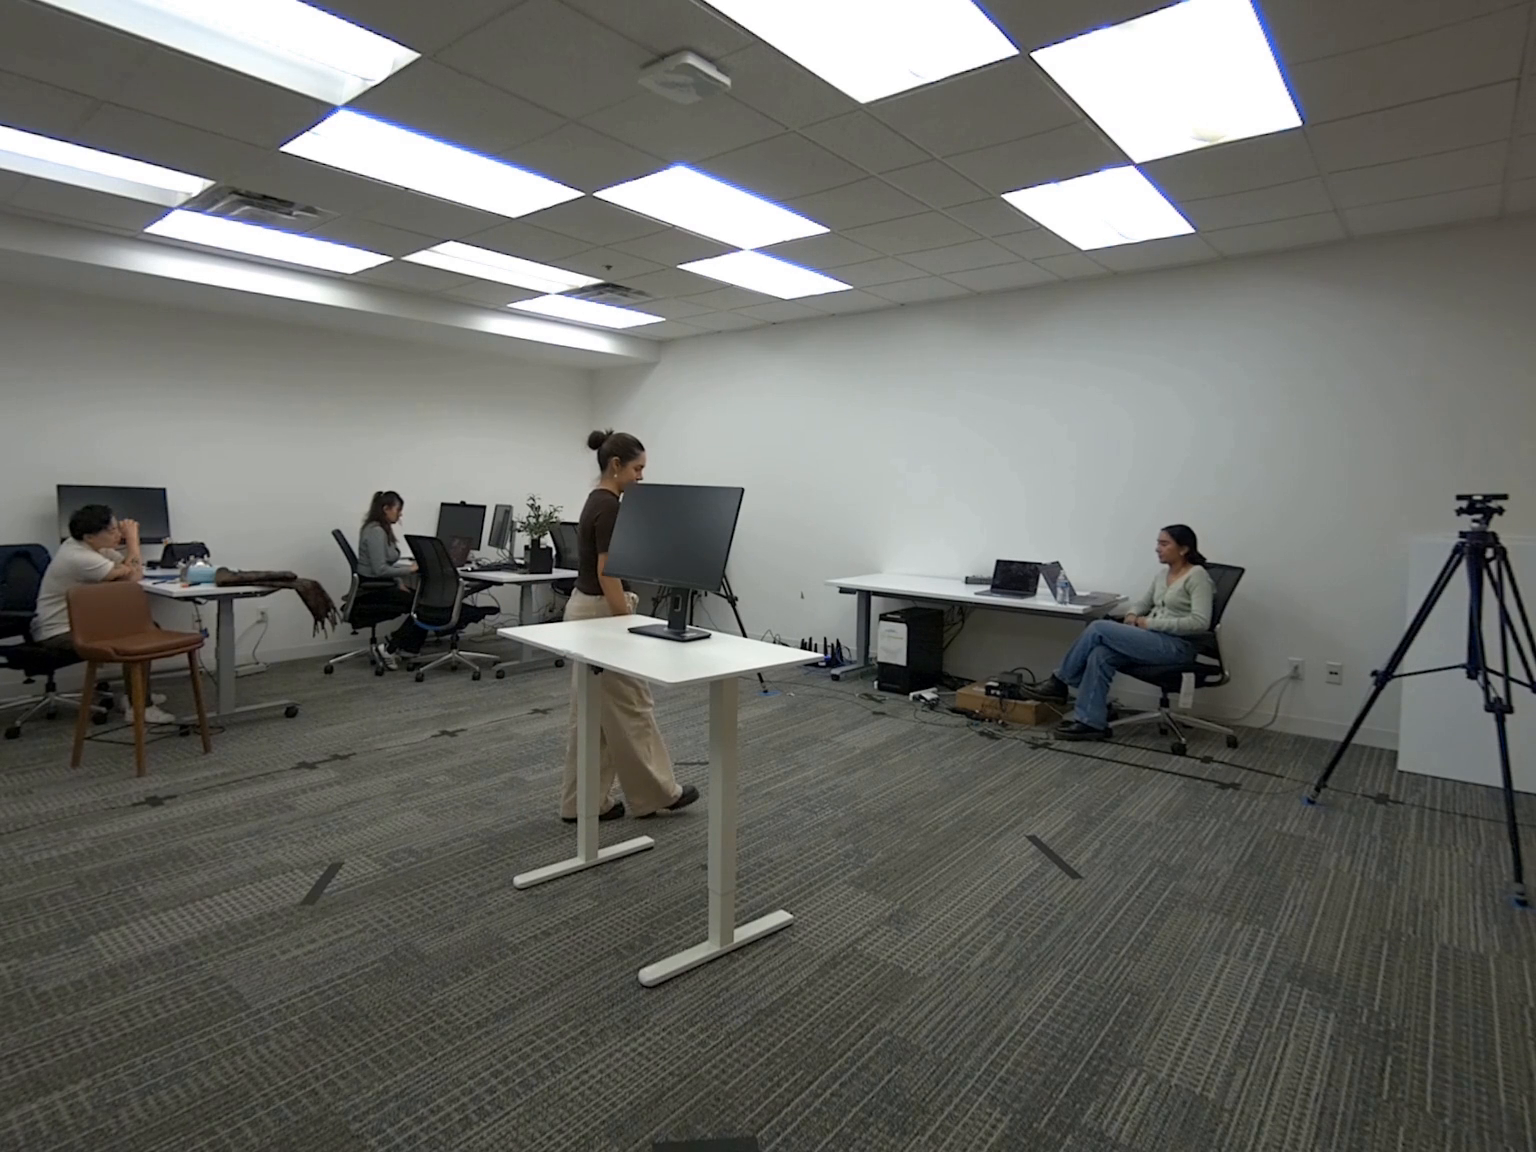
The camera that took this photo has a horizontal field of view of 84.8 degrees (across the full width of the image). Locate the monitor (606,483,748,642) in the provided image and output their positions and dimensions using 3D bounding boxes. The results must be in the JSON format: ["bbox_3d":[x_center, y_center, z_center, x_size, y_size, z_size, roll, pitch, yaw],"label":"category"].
[{"bbox_3d":[-0.330,-0.052,2.917,0.556,0.522,0.181,5,2,35],"label":"monitor"}]
